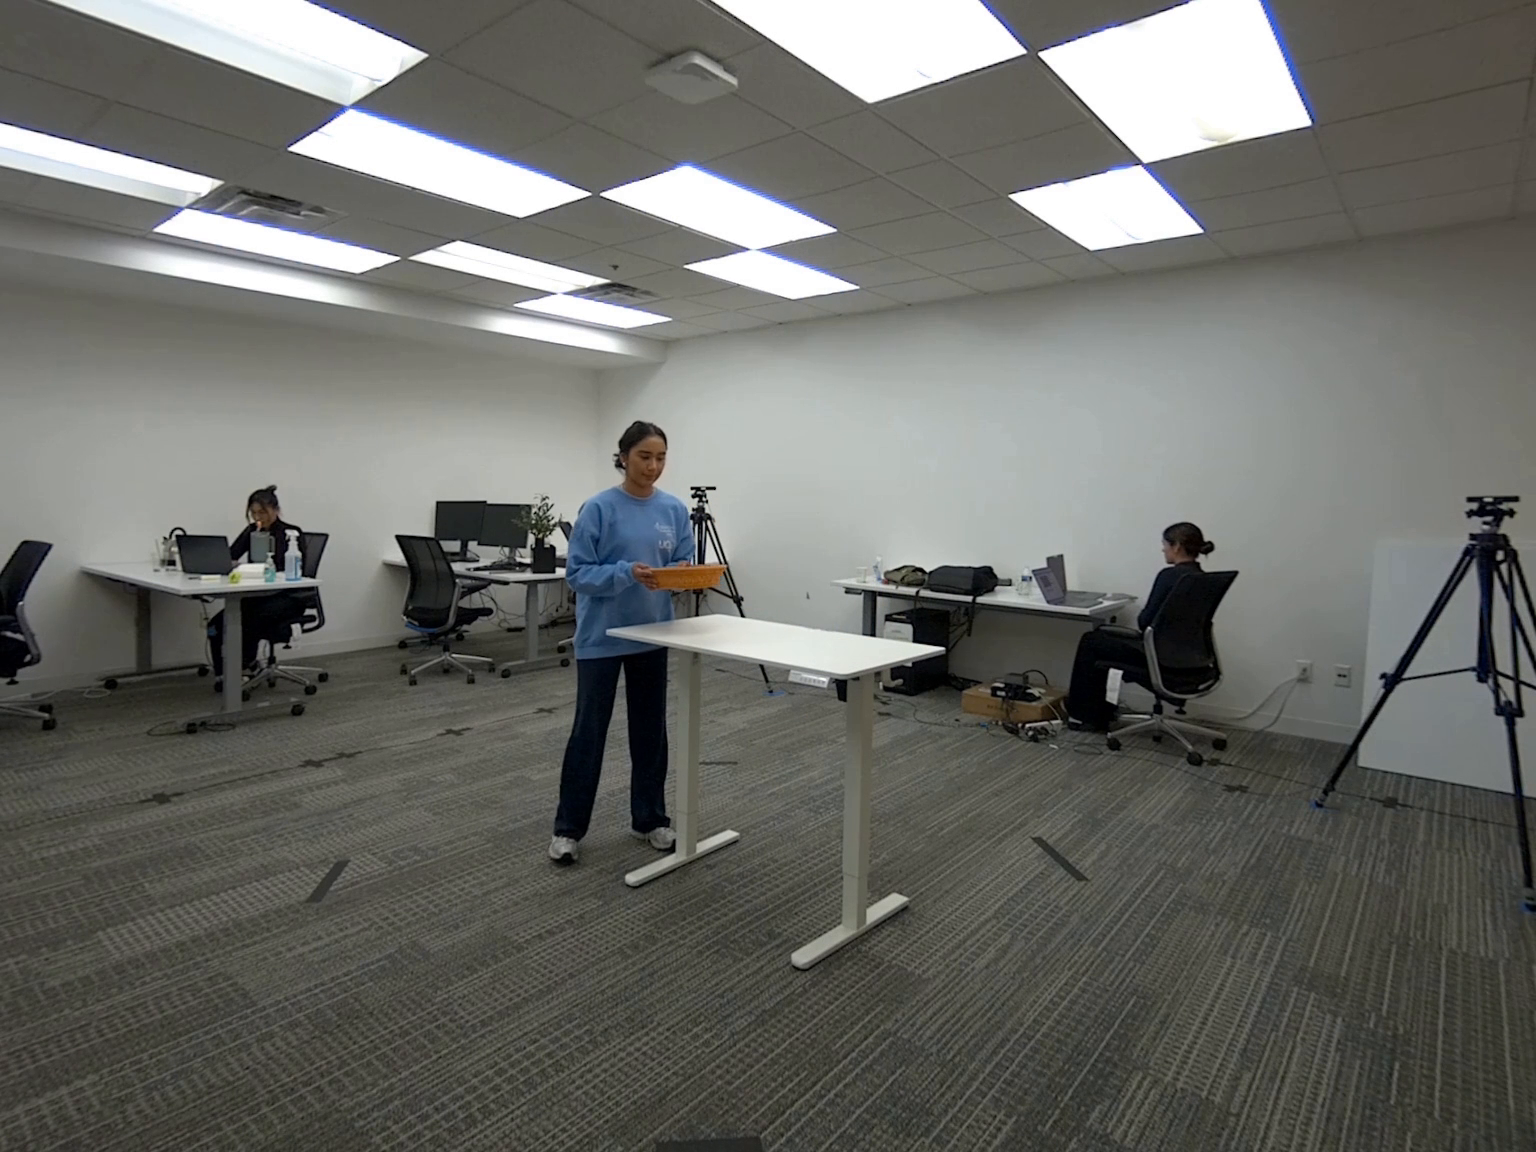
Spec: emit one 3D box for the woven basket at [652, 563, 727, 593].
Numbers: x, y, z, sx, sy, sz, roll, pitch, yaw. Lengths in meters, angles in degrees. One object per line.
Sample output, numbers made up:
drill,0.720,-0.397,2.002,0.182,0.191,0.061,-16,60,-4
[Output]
woven basket,-0.306,0.005,3.019,0.247,0.073,0.358,-4,3,-23
